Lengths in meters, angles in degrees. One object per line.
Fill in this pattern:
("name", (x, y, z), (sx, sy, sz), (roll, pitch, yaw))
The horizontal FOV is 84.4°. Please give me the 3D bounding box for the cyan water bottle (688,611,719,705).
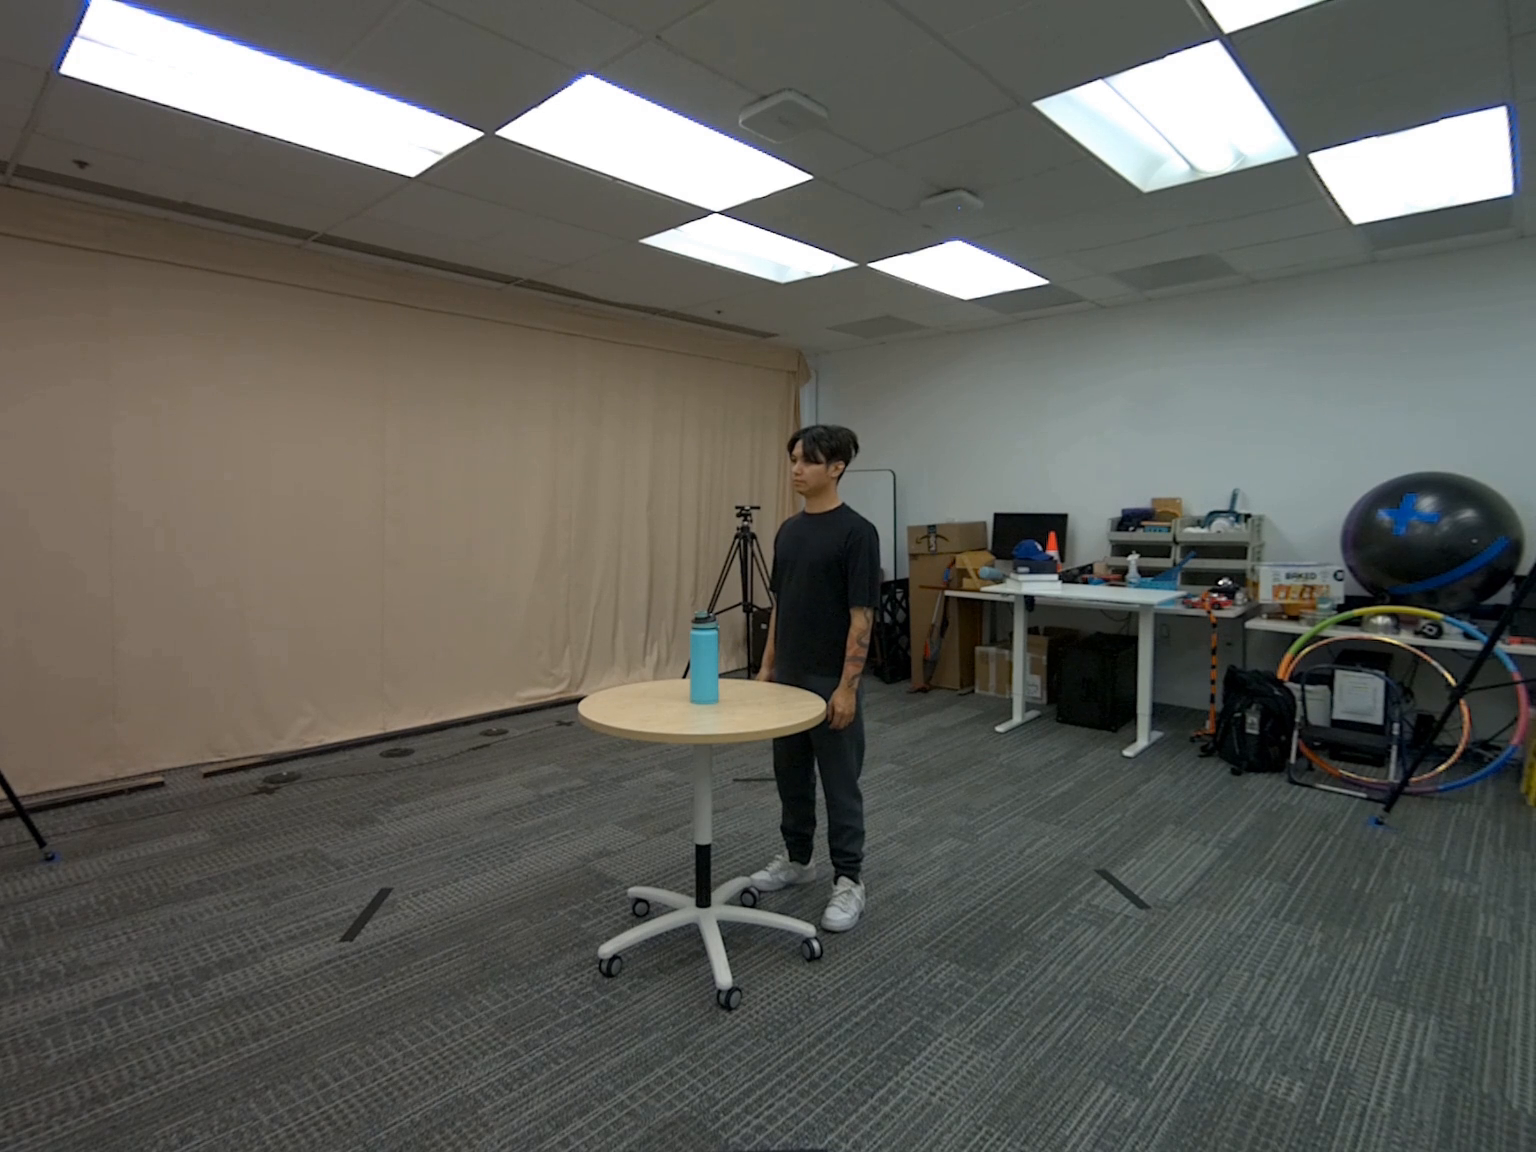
("cyan water bottle", (-0.199, 0.256, 2.624), (0.092, 0.283, 0.092), (-1, 1, -2))
